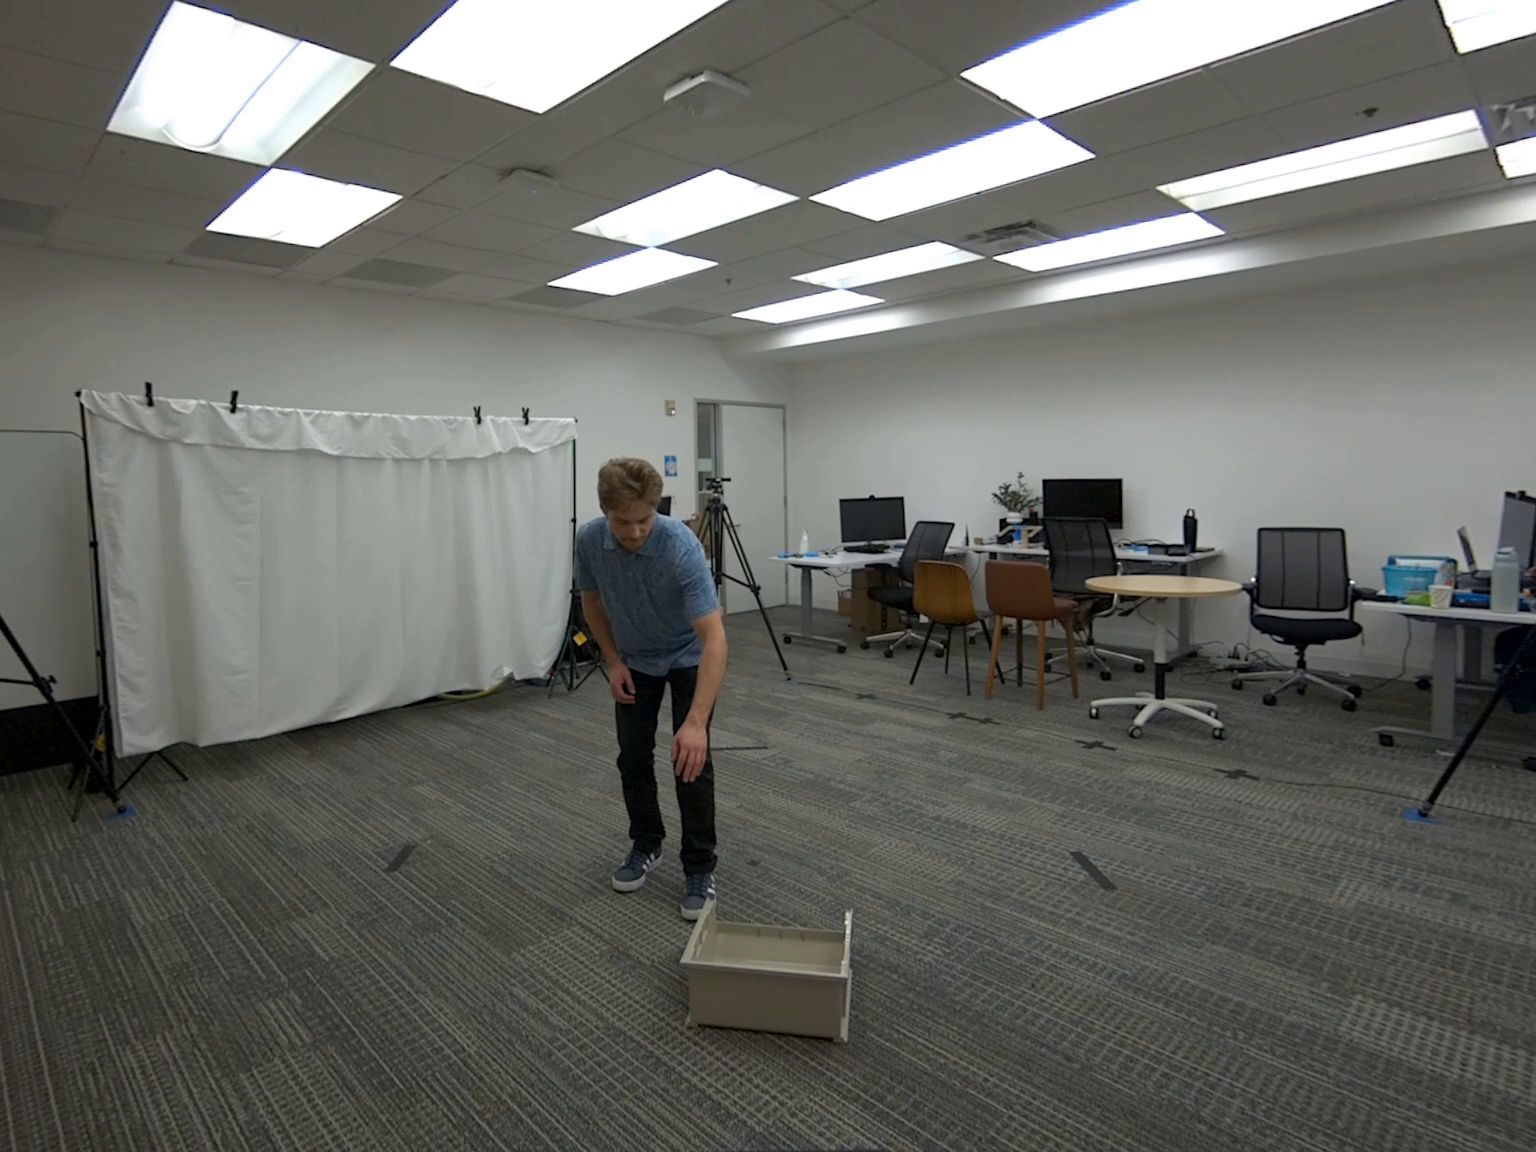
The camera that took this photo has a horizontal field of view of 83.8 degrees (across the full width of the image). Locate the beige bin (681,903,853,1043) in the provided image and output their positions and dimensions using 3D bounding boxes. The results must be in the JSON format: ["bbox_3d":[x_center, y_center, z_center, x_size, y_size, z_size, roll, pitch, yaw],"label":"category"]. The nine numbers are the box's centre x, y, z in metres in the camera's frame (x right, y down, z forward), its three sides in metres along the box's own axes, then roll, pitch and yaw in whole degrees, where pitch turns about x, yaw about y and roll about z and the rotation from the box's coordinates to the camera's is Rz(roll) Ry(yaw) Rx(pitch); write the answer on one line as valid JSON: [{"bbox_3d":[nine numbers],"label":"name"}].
[{"bbox_3d":[0.018,1.048,2.312,0.426,0.188,0.376,1,7,9],"label":"beige bin"}]
